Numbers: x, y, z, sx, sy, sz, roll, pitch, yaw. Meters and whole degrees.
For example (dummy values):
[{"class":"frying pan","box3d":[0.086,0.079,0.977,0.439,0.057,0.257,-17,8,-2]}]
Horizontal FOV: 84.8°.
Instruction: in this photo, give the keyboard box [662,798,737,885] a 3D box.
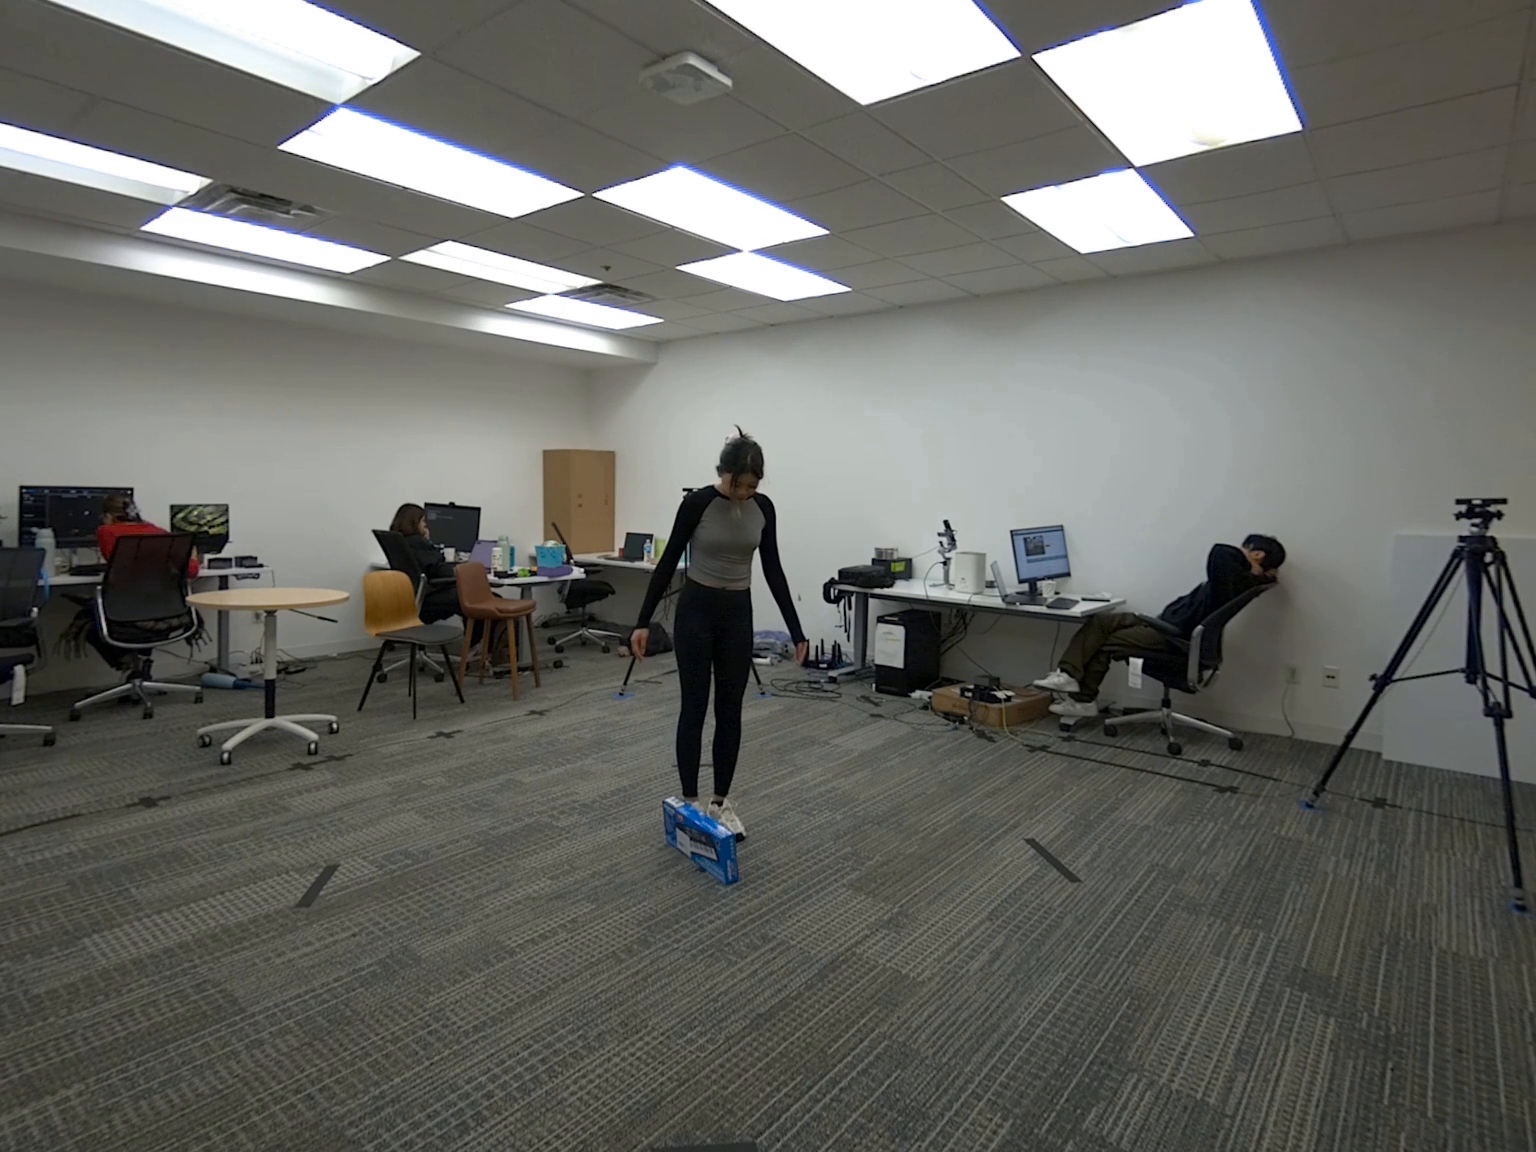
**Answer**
[{"class":"keyboard box","box3d":[-0.273,0.978,3.174,0.057,0.174,0.451,-9,10,-35]}]
